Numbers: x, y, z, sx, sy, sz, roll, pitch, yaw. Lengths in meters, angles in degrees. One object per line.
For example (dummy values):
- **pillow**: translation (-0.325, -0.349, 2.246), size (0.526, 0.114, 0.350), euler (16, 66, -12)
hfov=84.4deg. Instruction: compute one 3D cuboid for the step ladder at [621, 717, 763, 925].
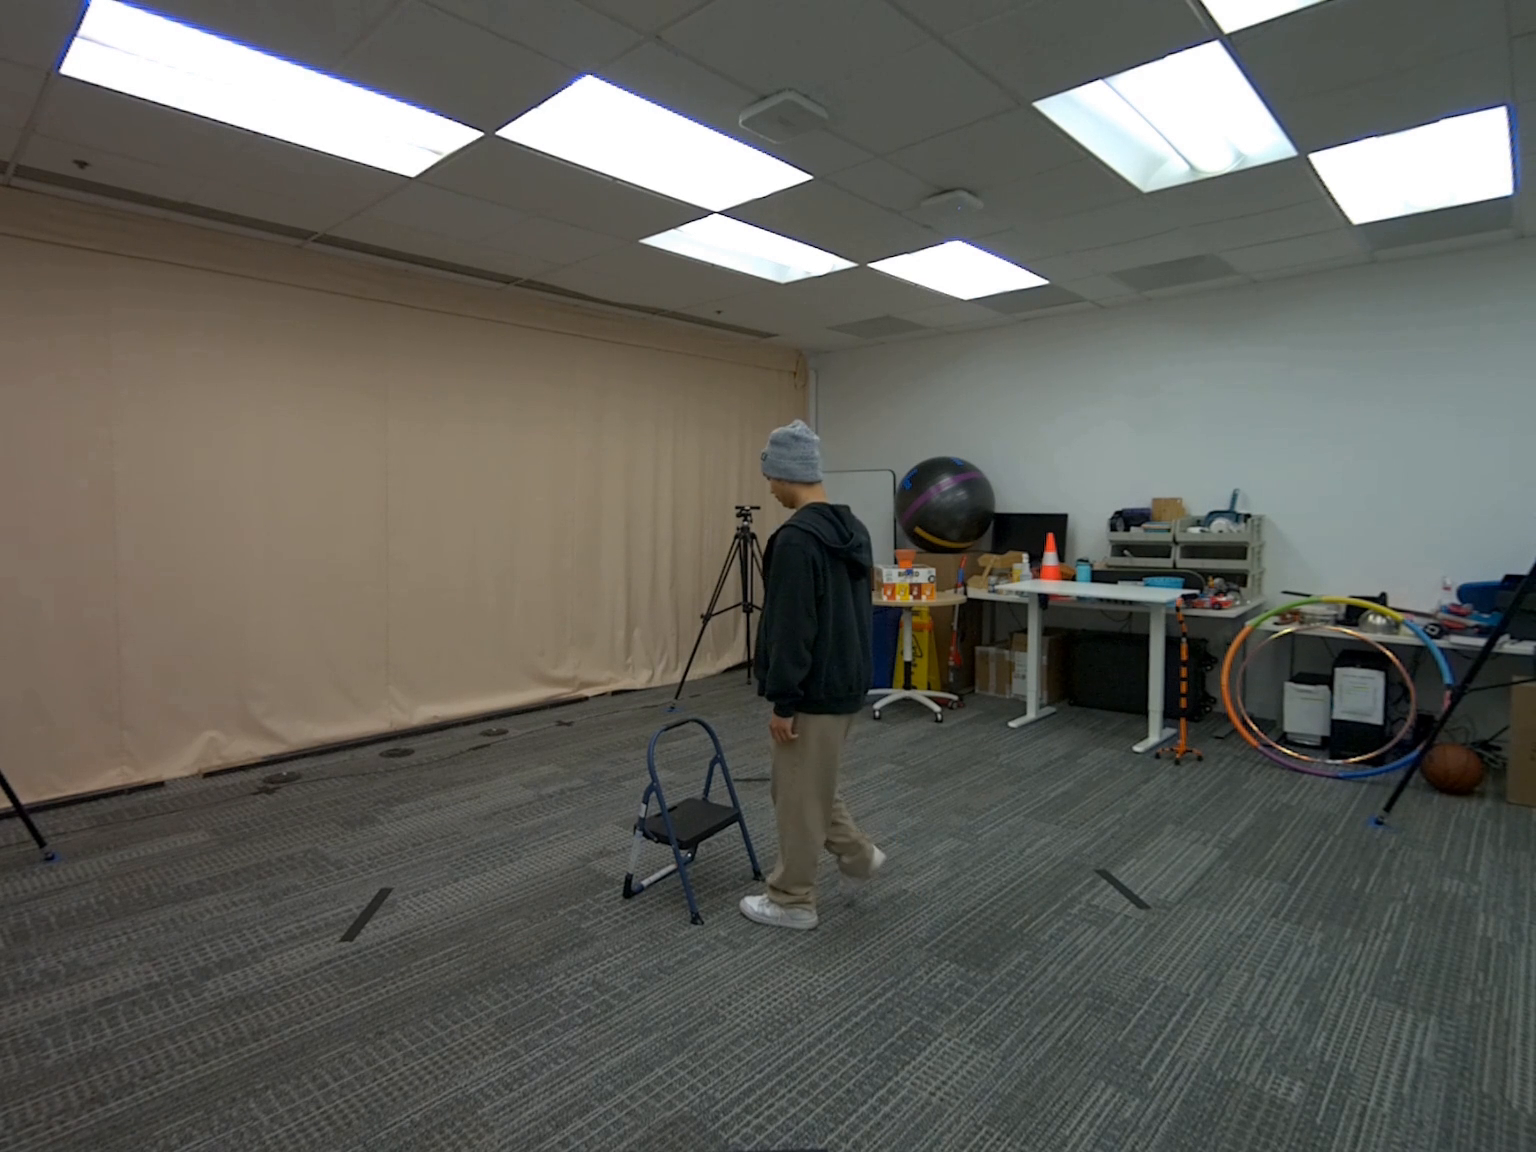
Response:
- **step ladder**: translation (-0.269, 0.837, 3.054), size (0.360, 0.605, 0.418), euler (2, 4, 33)
